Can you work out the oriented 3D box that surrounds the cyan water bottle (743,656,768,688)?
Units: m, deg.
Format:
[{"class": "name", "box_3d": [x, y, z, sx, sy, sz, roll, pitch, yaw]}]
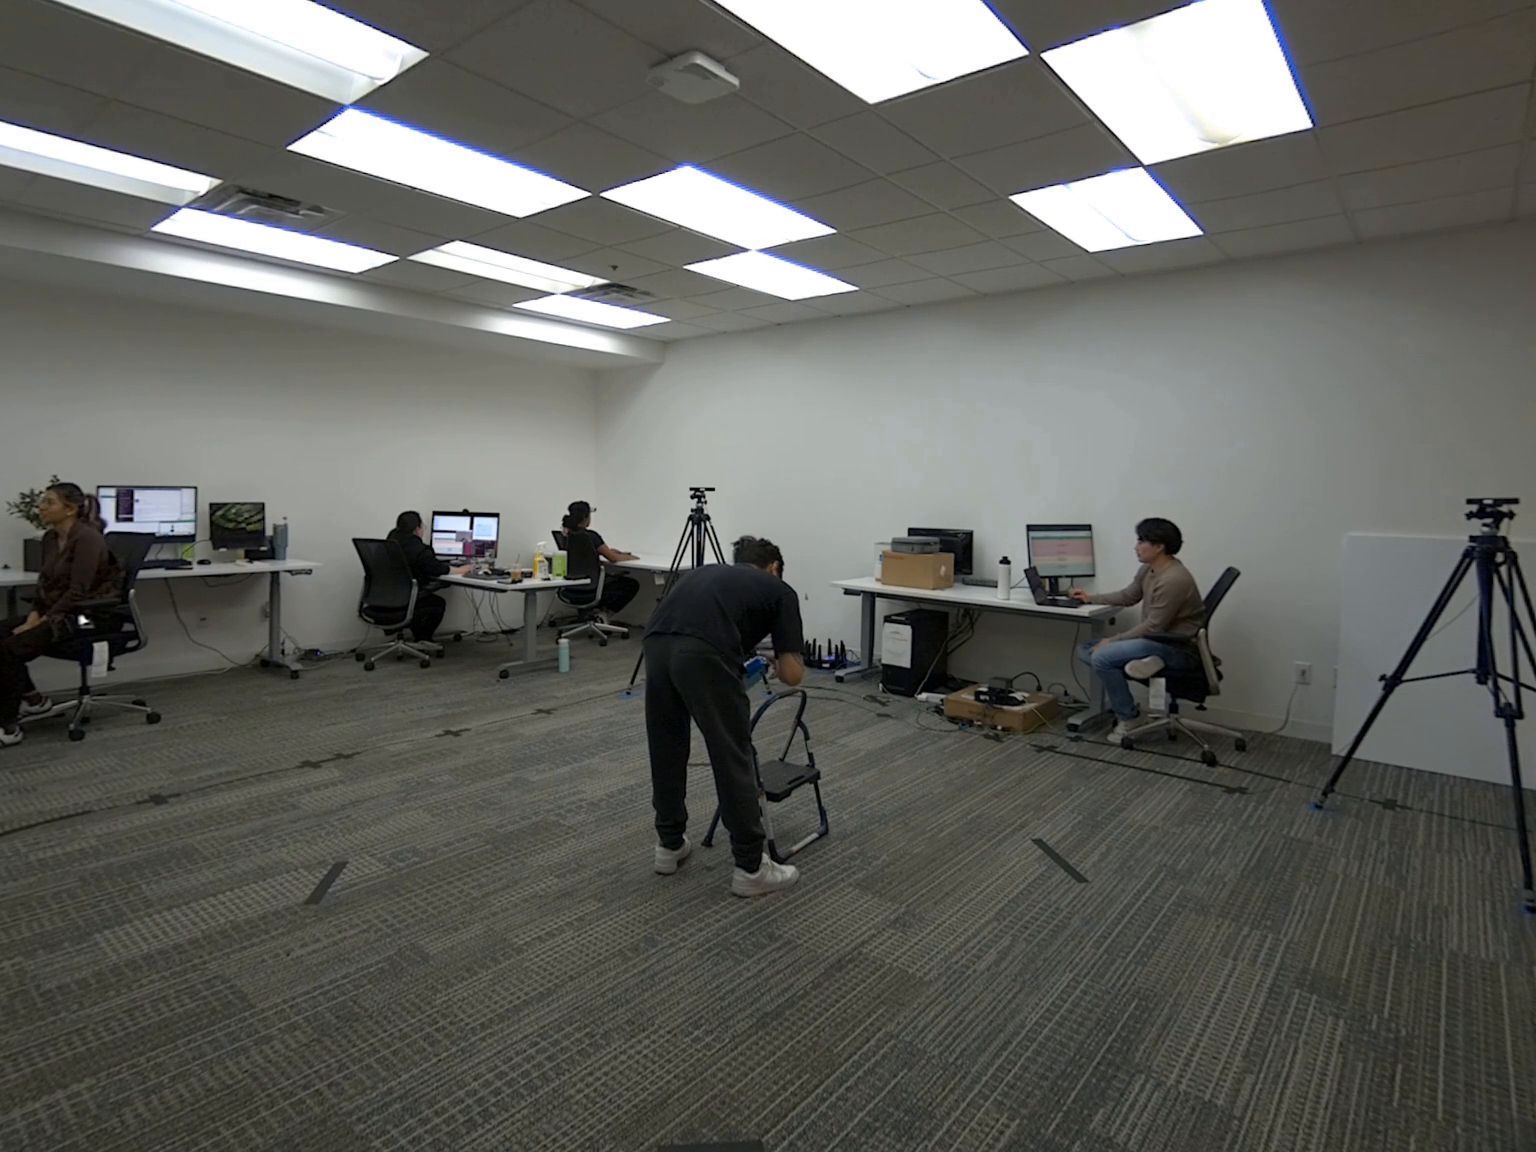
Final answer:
[{"class": "cyan water bottle", "box_3d": [-0.130, 0.428, 3.369, 0.283, 0.091, 0.093, -39, 10, -5]}]
